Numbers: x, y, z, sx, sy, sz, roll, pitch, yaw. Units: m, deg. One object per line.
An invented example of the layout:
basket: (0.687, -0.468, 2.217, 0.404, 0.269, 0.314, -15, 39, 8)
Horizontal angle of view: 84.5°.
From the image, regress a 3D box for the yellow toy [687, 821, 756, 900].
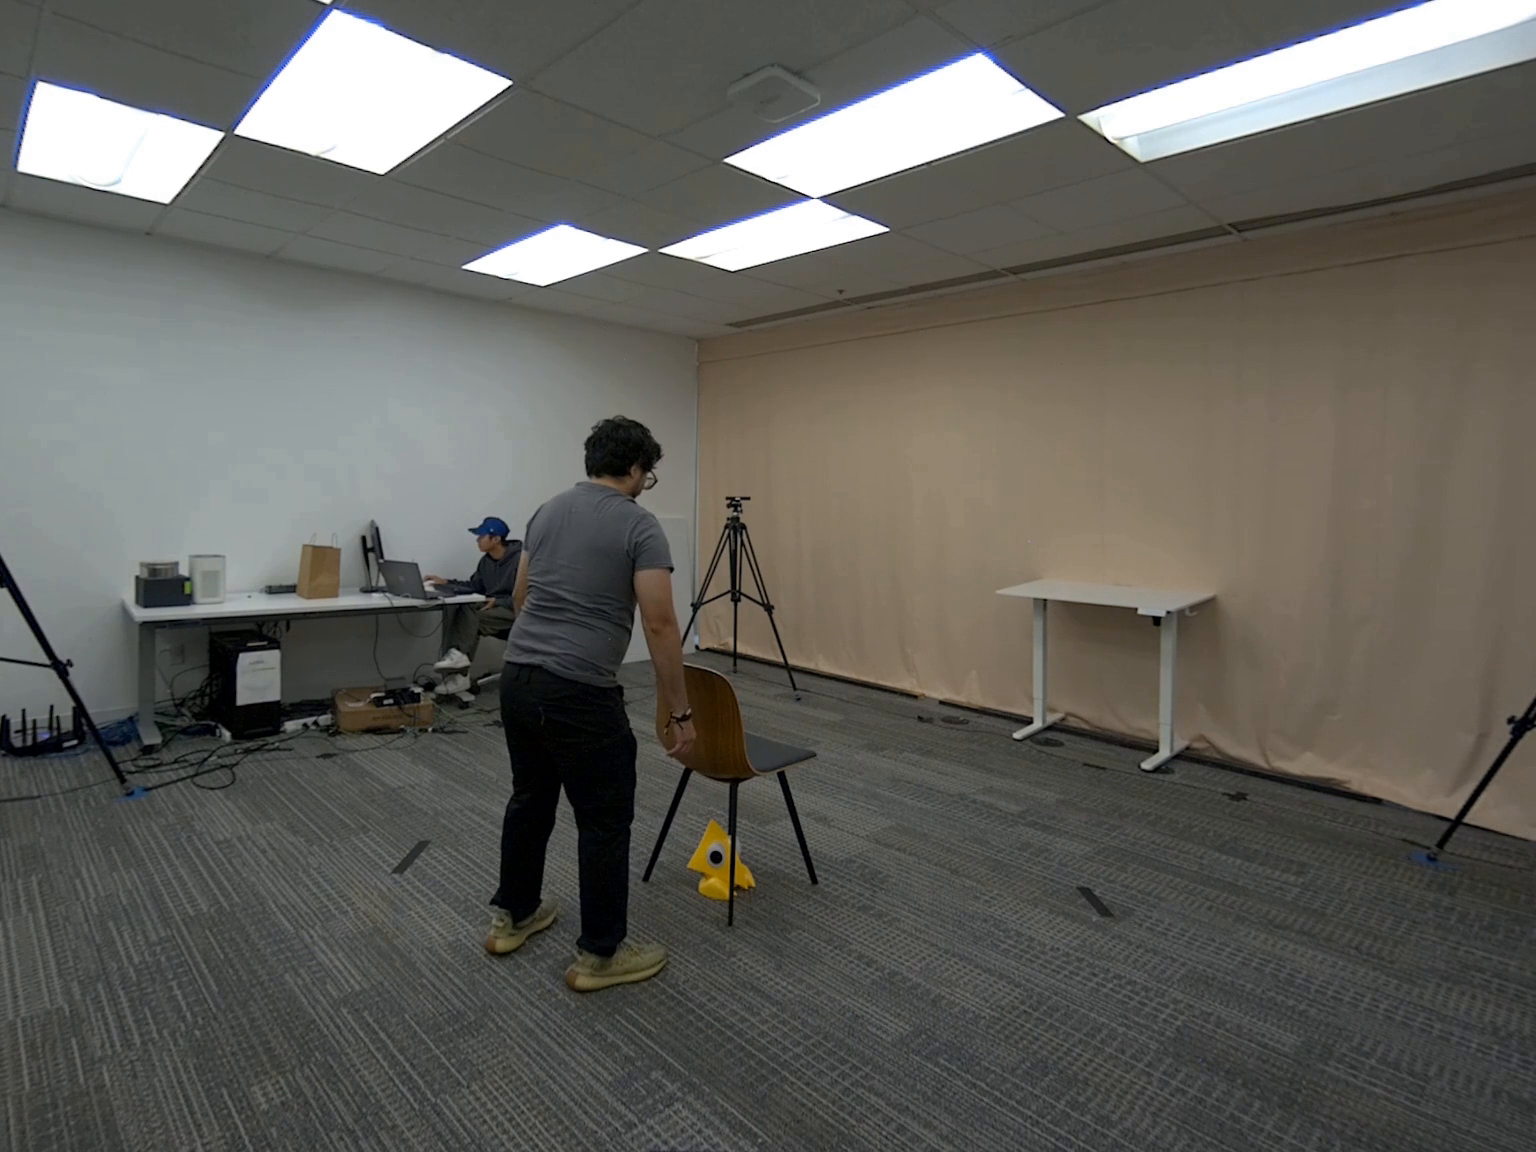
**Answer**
yellow toy: (-0.166, 0.999, 3.015, 0.198, 0.230, 0.200, 3, 4, 36)
